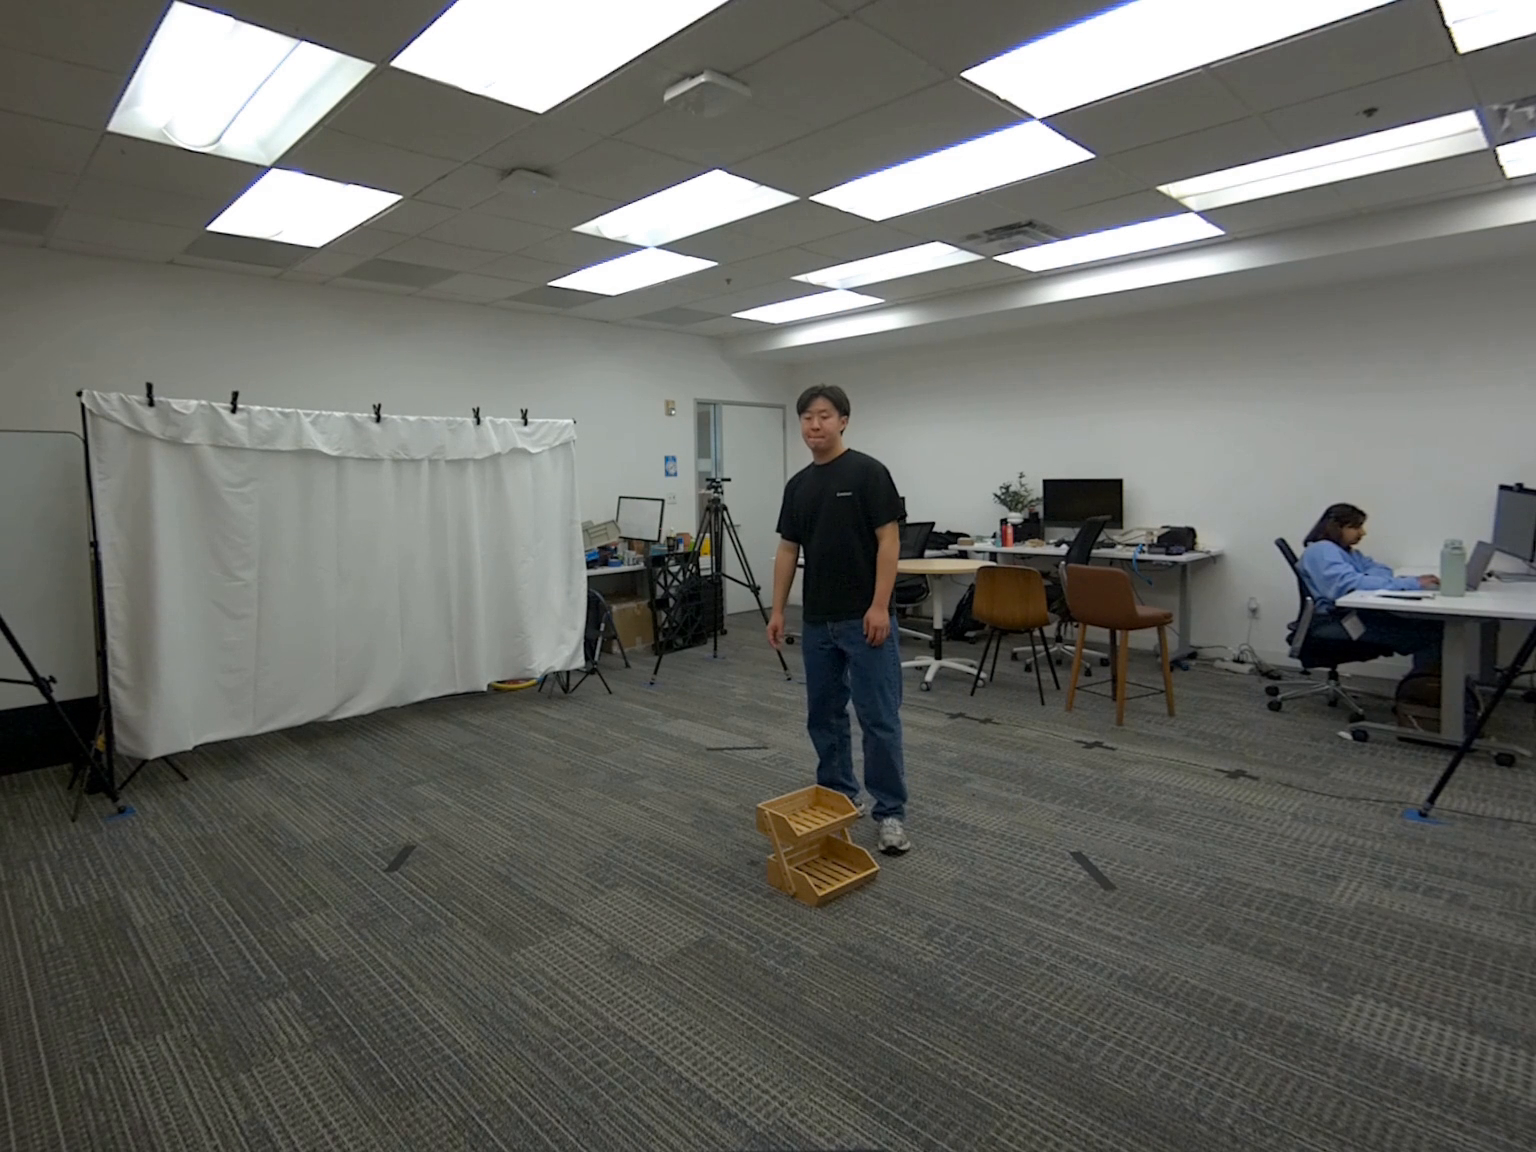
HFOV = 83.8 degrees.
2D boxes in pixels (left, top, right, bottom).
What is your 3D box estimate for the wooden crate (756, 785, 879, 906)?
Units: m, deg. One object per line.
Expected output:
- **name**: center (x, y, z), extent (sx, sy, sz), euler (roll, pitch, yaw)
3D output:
- **wooden crate**: center (0.177, 0.922, 2.959), extent (0.316, 0.272, 0.311), euler (-6, 6, -41)
